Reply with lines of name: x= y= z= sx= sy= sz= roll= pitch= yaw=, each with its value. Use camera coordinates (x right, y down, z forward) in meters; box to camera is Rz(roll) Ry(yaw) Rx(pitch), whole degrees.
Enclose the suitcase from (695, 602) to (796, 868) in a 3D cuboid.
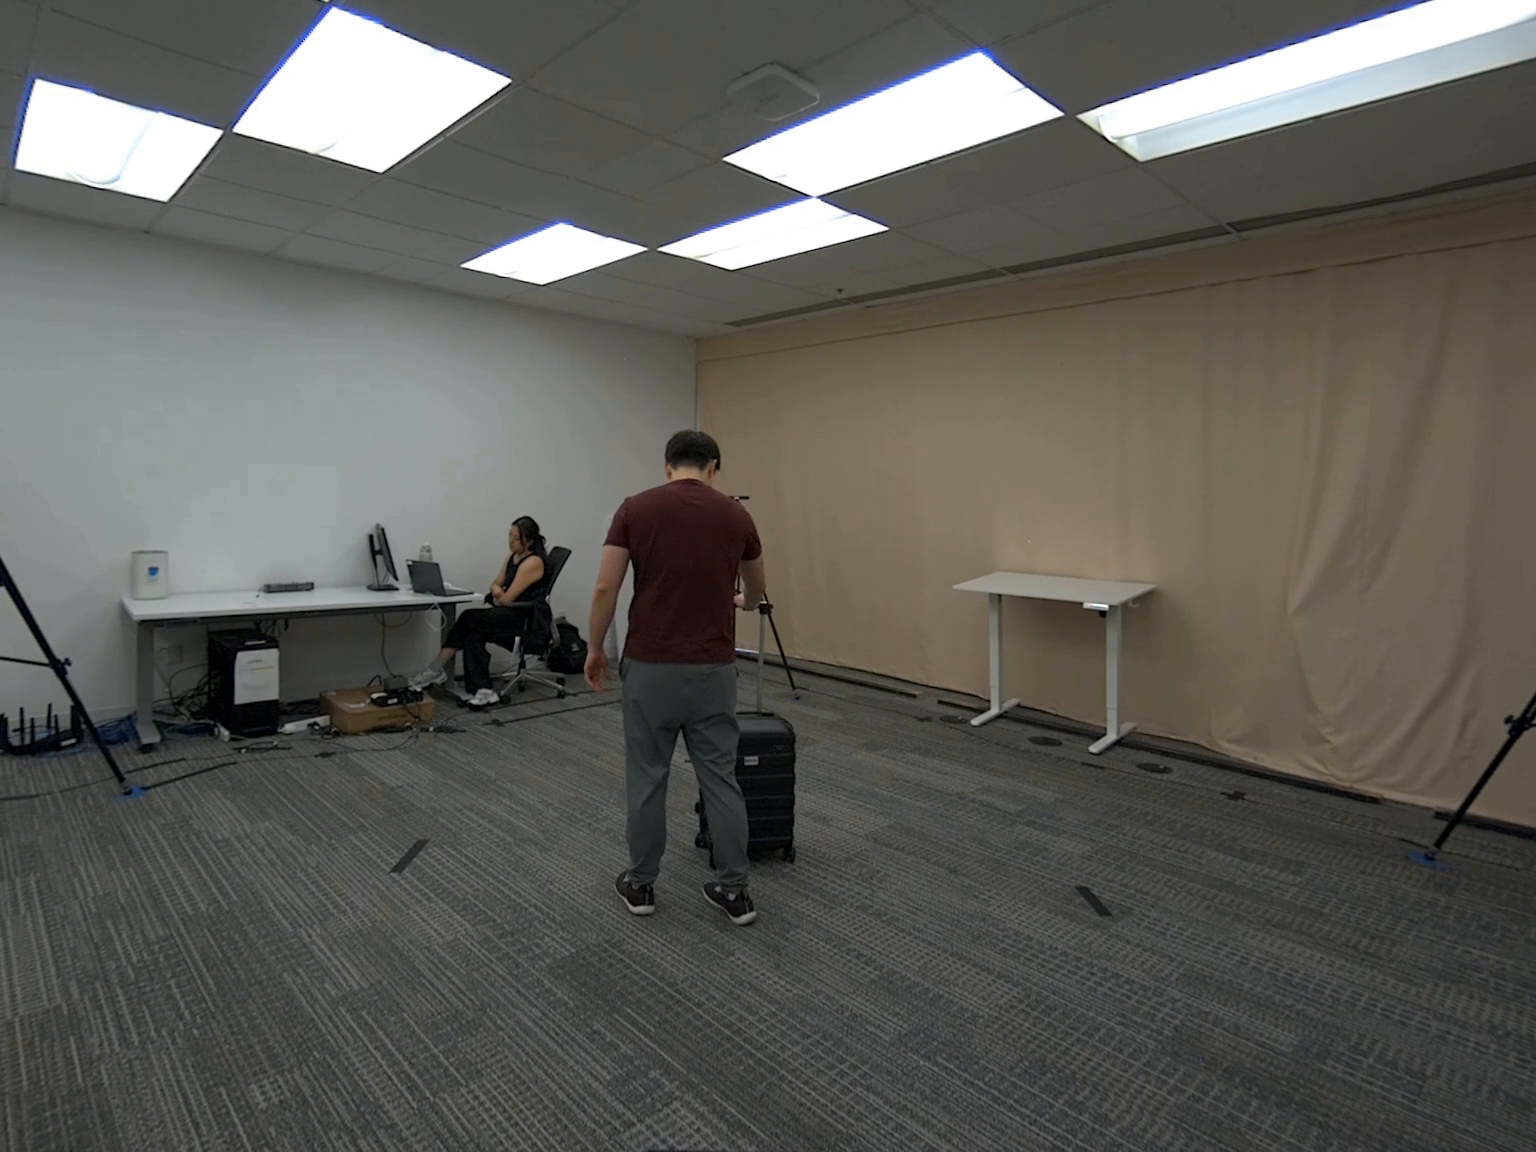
suitcase: x=-0.077 y=0.612 z=3.262 sx=0.380 sy=0.975 sz=0.260 roll=1 pitch=5 yaw=-12
